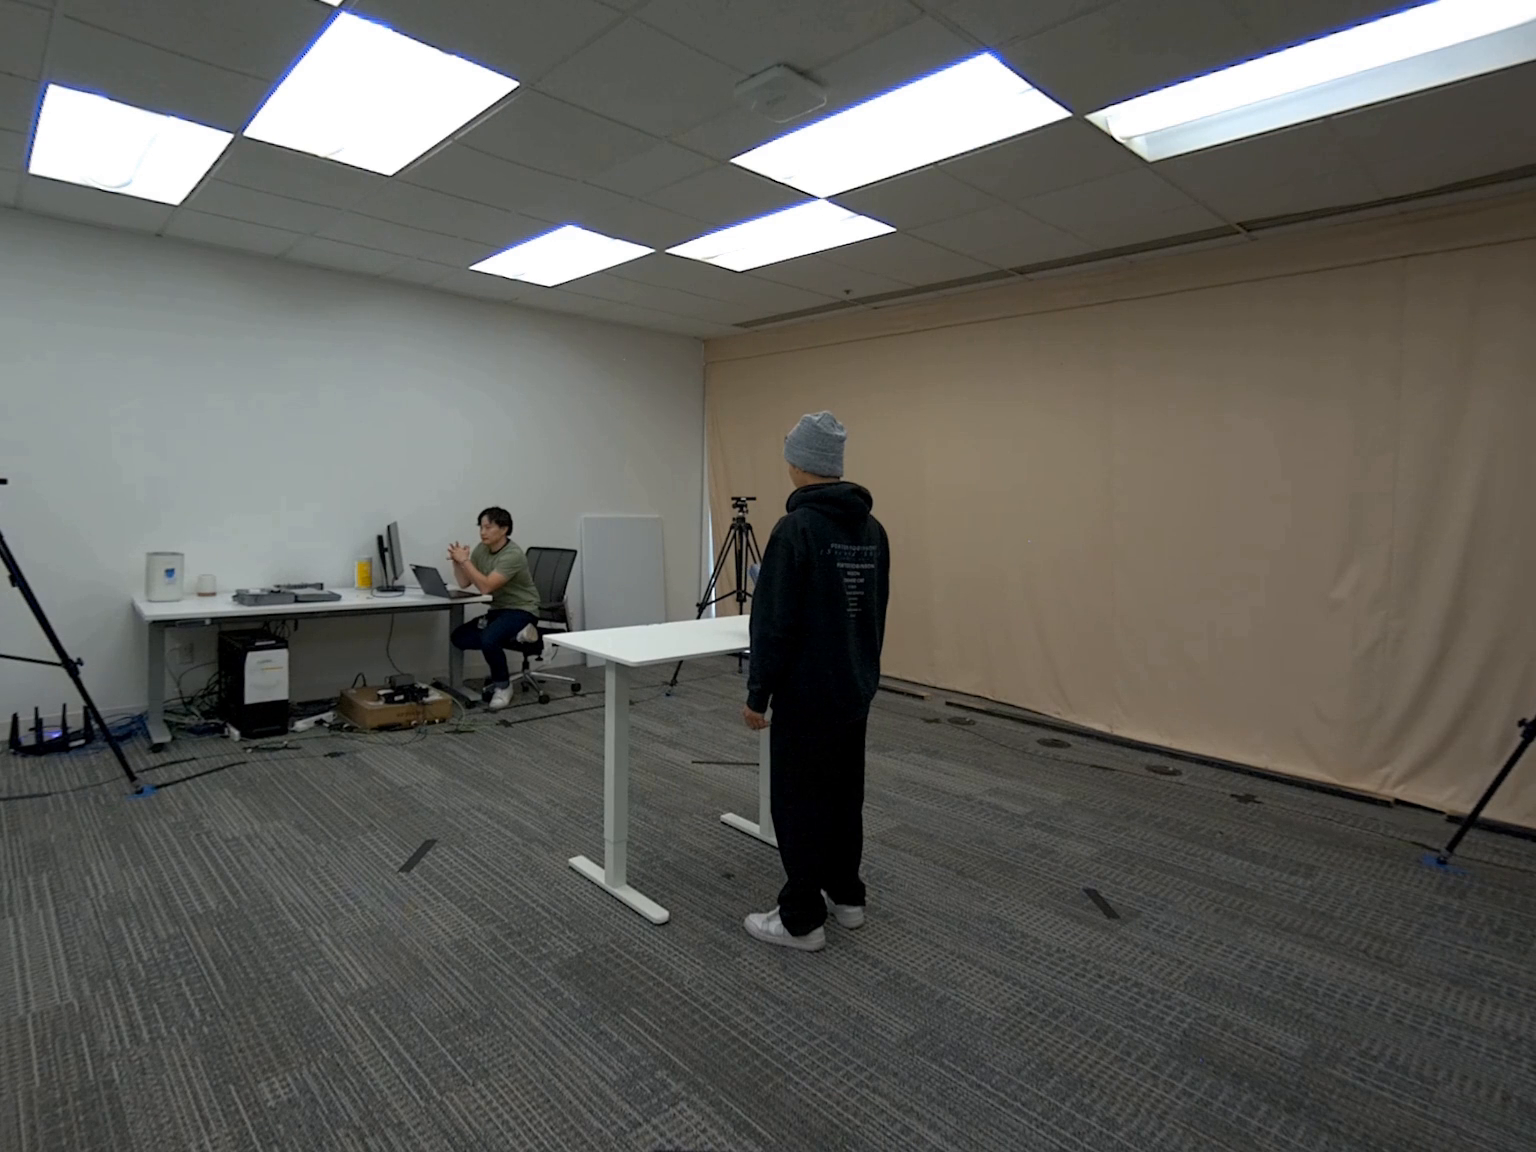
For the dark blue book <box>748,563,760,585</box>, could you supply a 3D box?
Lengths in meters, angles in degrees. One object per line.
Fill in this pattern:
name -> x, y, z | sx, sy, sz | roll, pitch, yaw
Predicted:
dark blue book -> 0.042, 0.044, 3.107 | 0.161, 0.044, 0.252 | 3, 29, -18
